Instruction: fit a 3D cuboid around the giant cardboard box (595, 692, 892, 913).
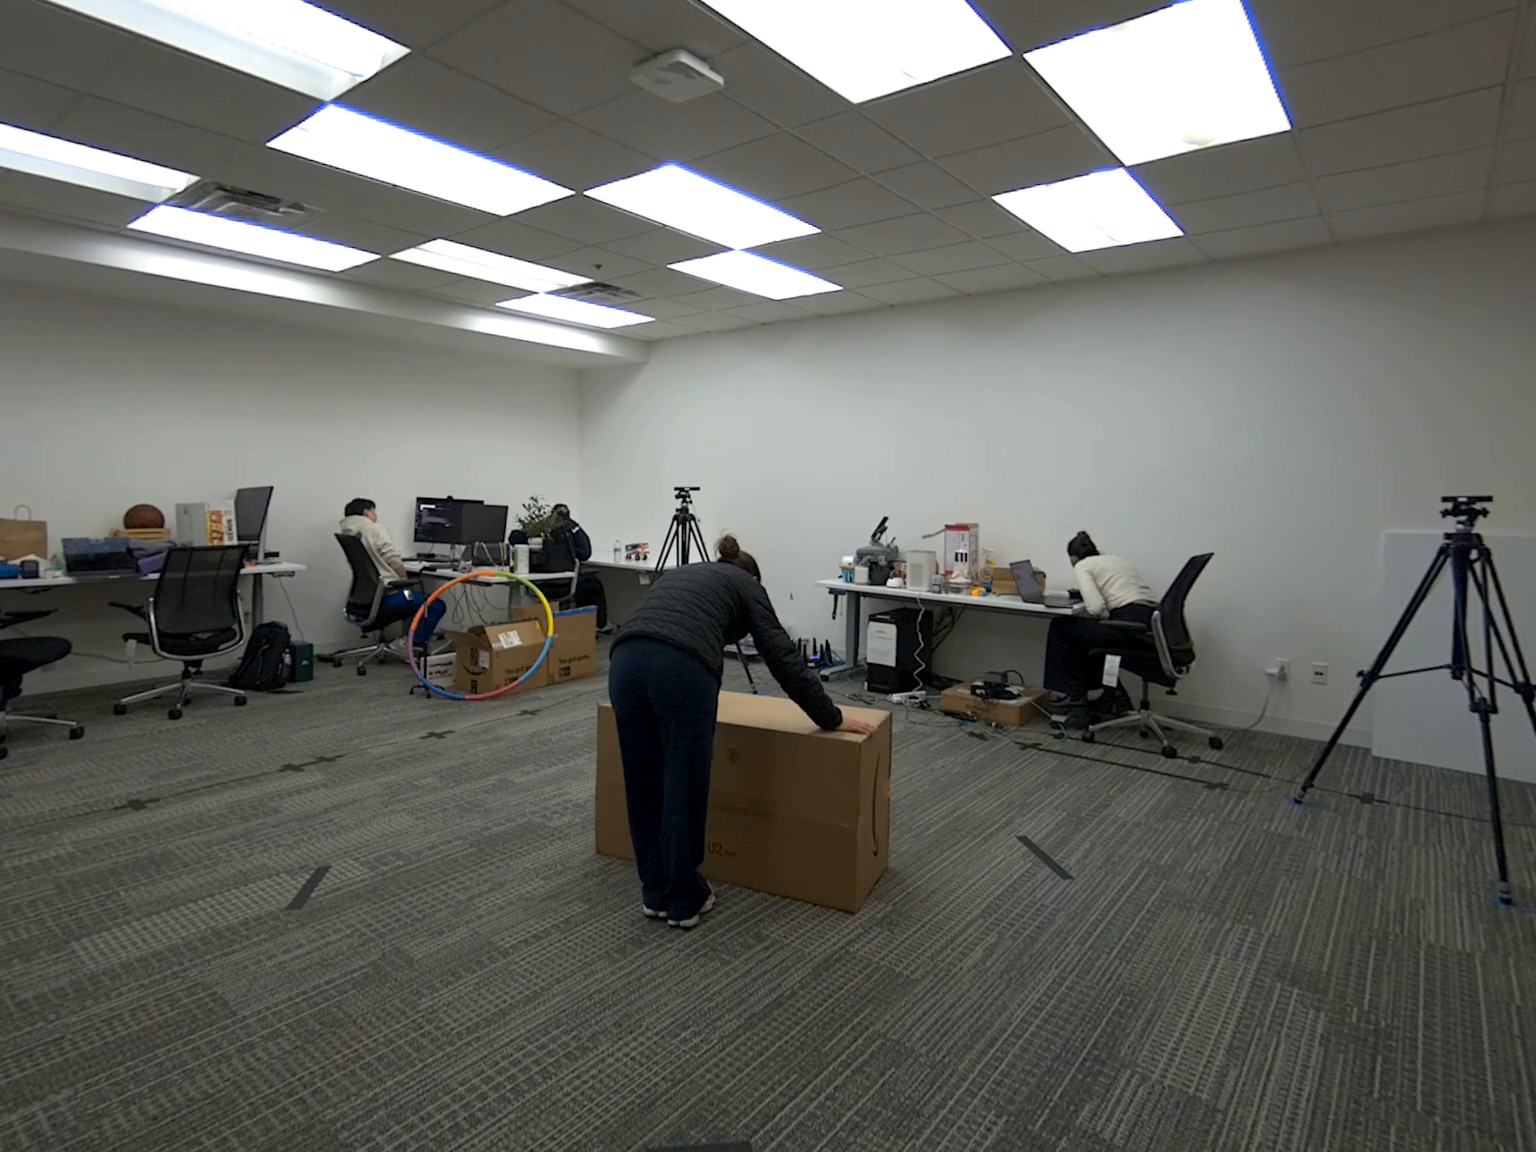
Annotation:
[{"bbox_3d":[-0.086,0.774,3.197,1.054,0.581,0.437,3,6,25],"label":"giant cardboard box"}]
